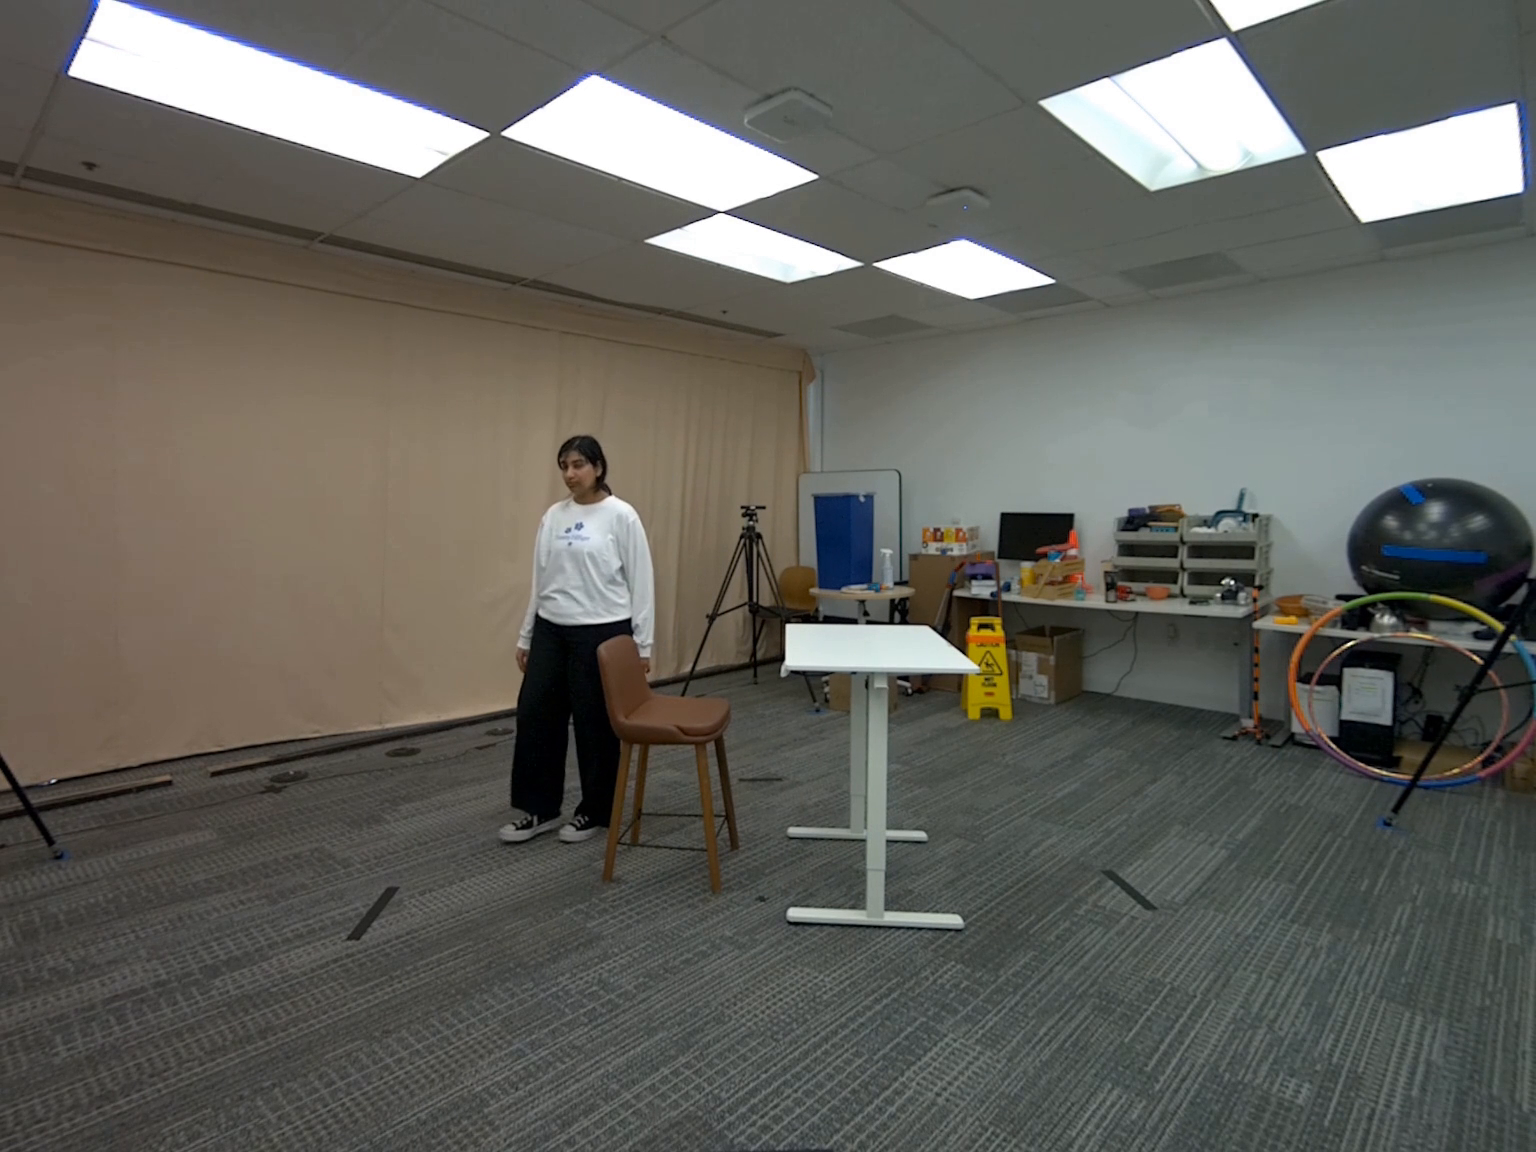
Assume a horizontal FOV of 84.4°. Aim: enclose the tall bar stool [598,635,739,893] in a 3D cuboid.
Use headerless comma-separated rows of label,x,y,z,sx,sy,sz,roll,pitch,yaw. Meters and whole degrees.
tall bar stool,-0.375,0.690,3.244,0.473,0.888,0.452,-2,3,11
